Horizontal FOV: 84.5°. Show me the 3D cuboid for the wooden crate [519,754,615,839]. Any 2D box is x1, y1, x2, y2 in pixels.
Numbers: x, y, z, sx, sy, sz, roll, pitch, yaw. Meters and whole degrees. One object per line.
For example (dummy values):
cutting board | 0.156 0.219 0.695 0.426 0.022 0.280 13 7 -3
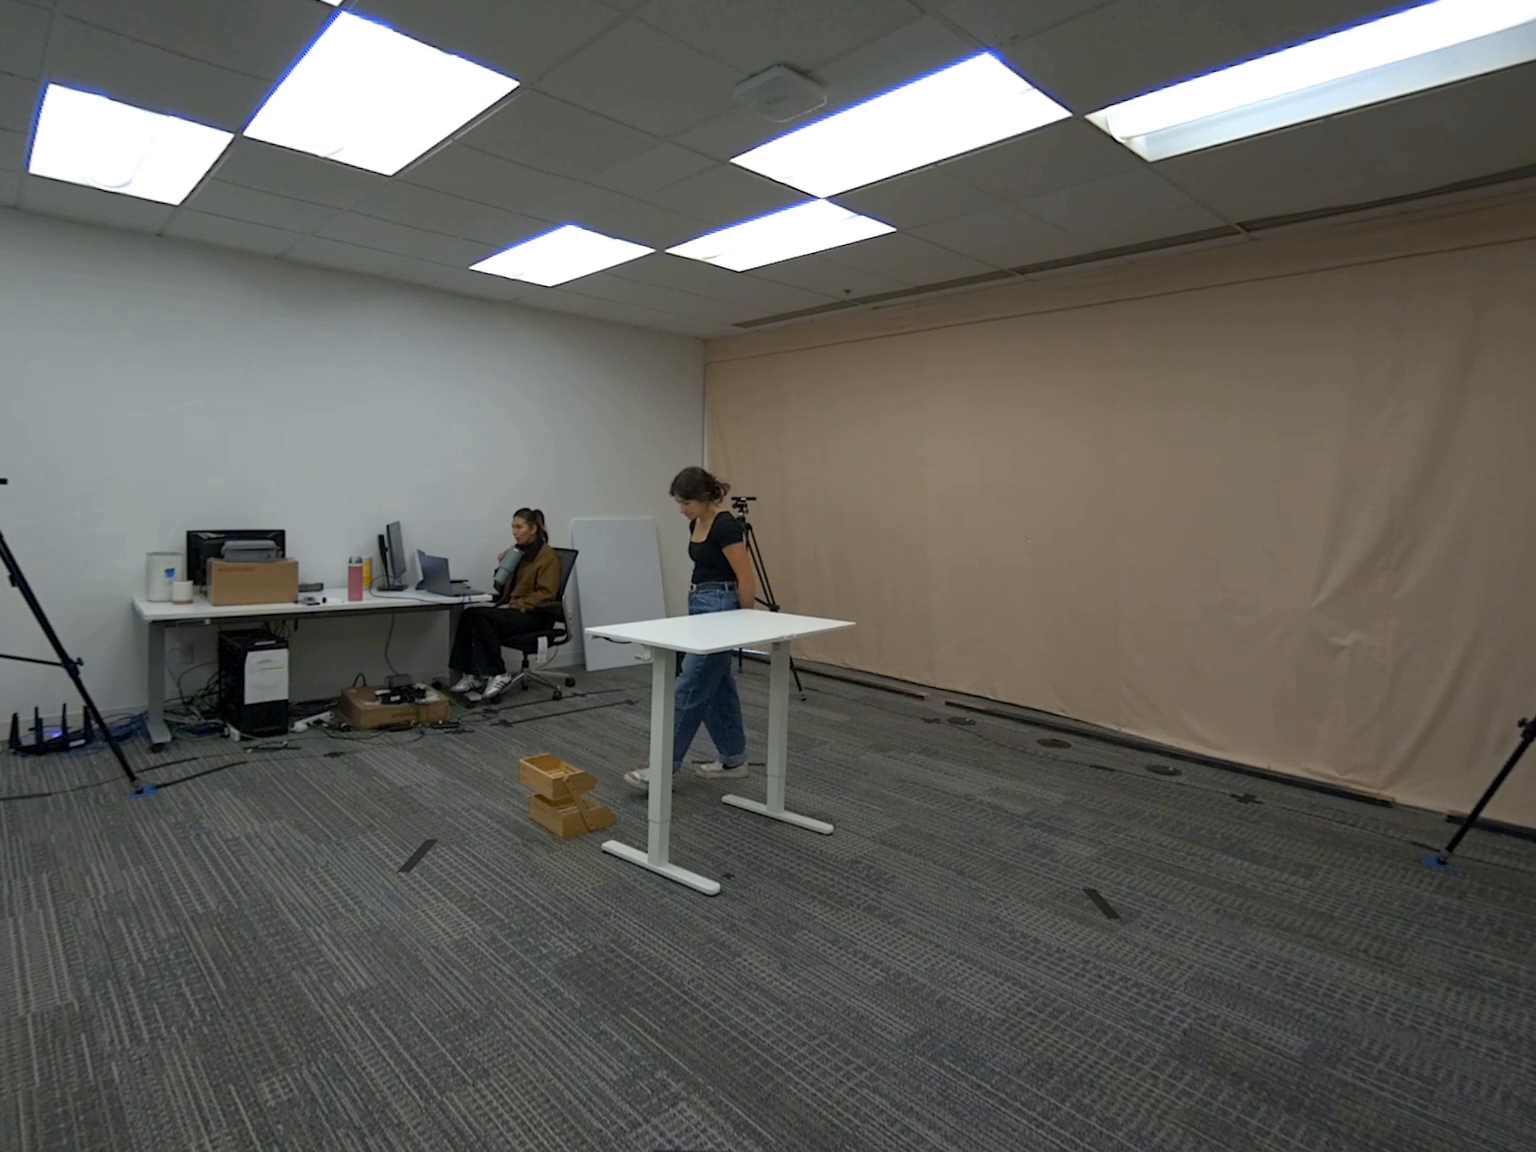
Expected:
wooden crate | -0.866 0.916 3.579 0.295 0.272 0.333 -3 7 -42
